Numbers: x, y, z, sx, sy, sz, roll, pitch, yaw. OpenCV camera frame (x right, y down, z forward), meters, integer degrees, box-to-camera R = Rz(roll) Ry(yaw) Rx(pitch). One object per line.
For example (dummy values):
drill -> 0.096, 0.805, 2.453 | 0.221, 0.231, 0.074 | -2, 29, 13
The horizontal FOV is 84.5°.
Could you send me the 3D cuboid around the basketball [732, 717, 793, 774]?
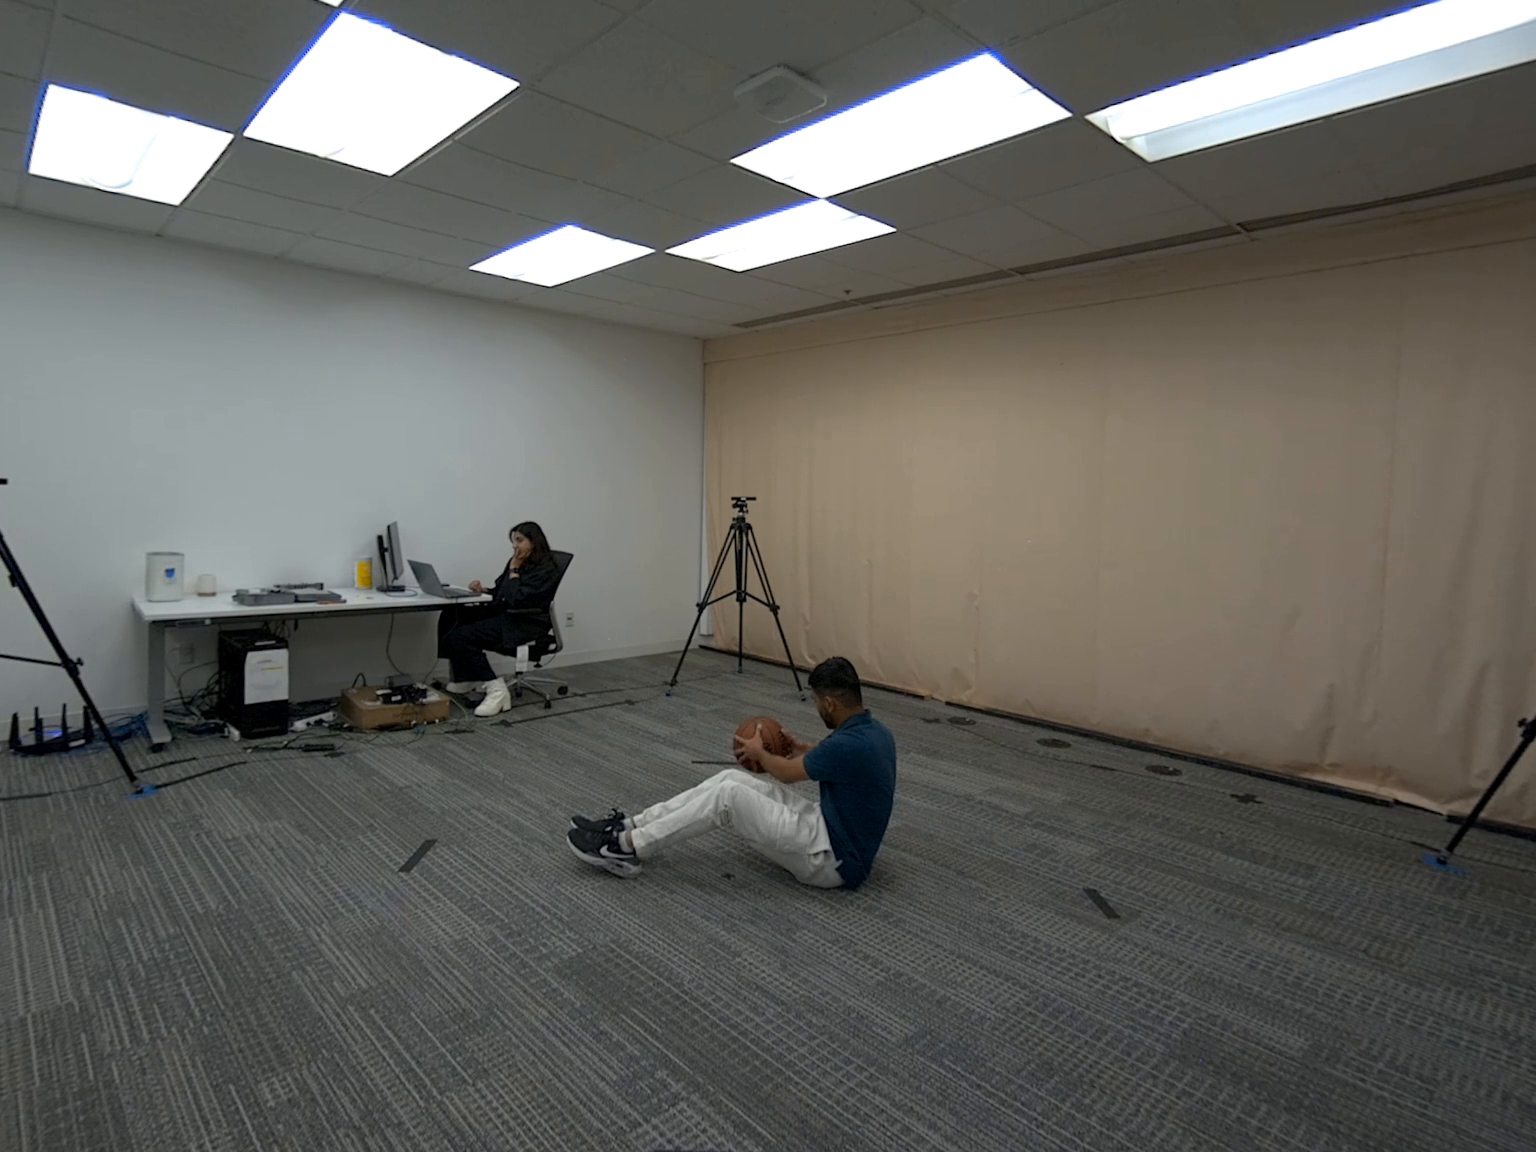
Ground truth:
basketball -> -0.048, 0.720, 3.582 | 0.236, 0.235, 0.237 | 1, 4, -1
